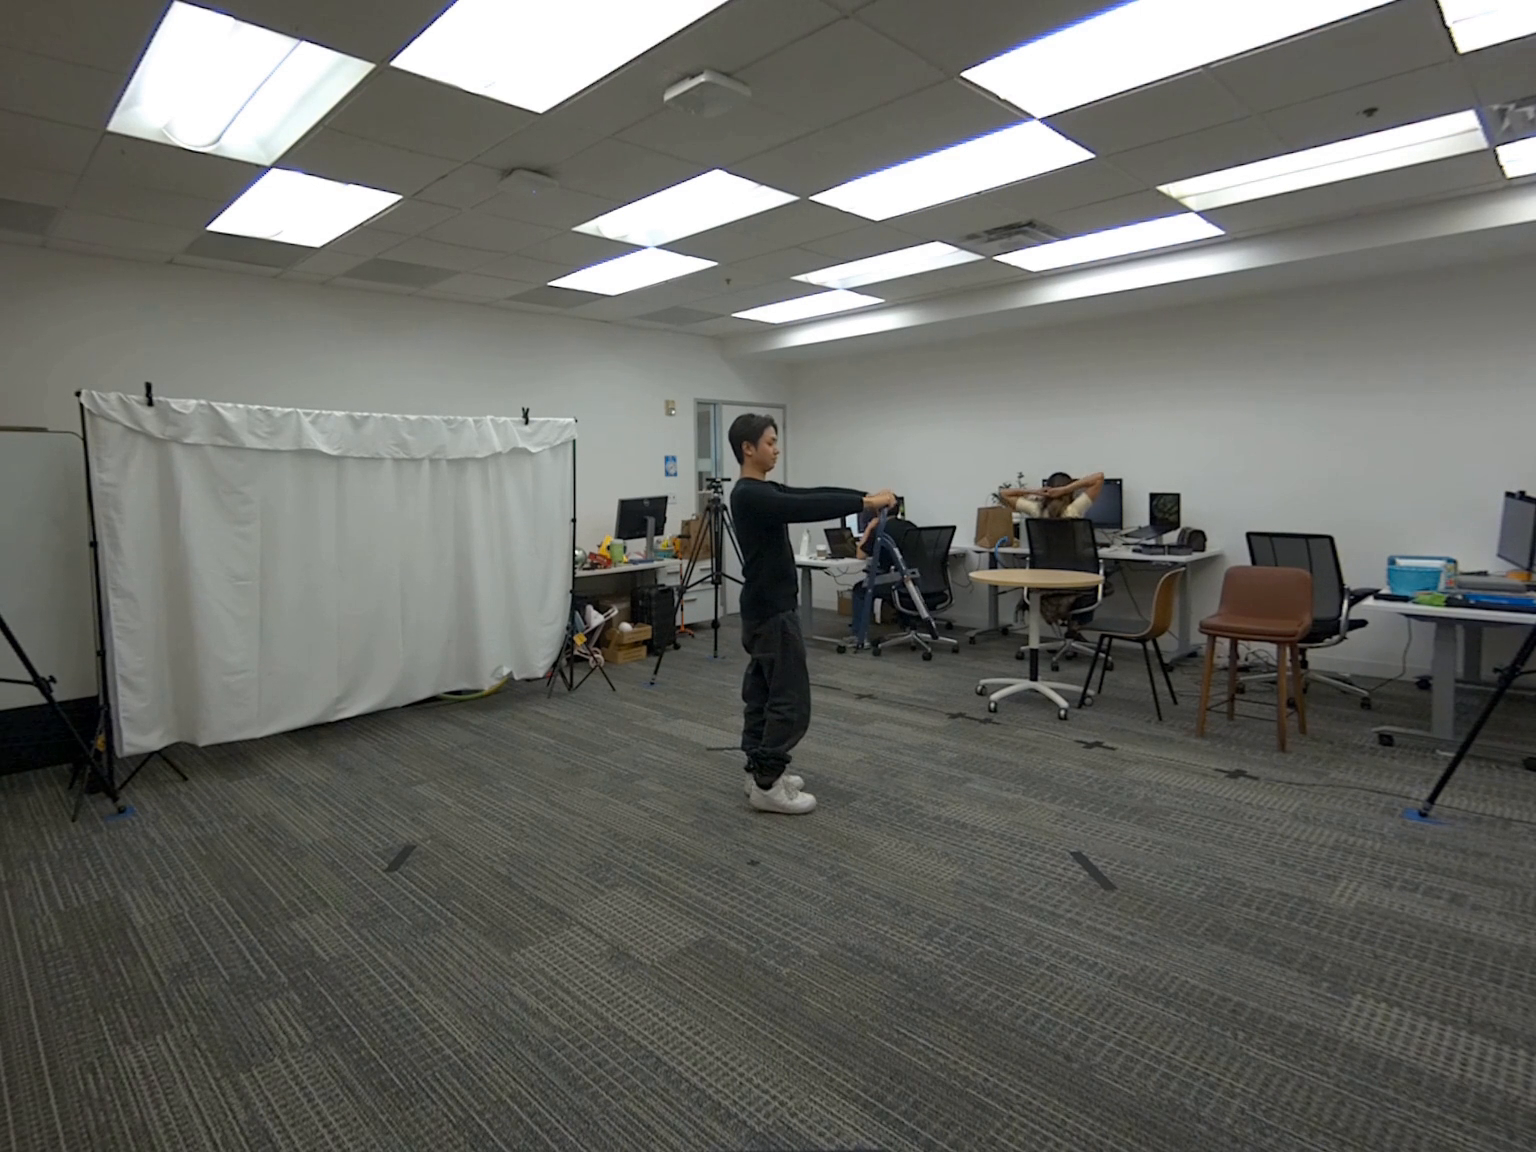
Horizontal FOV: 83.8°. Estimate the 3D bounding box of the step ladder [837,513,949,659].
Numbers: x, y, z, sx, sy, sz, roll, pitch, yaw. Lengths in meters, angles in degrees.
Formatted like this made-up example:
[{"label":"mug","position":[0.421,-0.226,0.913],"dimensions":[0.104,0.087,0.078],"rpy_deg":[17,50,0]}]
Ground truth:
[{"label":"step ladder","position":[0.484,-0.021,3.675],"dimensions":[0.351,0.607,0.428],"rpy_deg":[-11,0,7]}]
